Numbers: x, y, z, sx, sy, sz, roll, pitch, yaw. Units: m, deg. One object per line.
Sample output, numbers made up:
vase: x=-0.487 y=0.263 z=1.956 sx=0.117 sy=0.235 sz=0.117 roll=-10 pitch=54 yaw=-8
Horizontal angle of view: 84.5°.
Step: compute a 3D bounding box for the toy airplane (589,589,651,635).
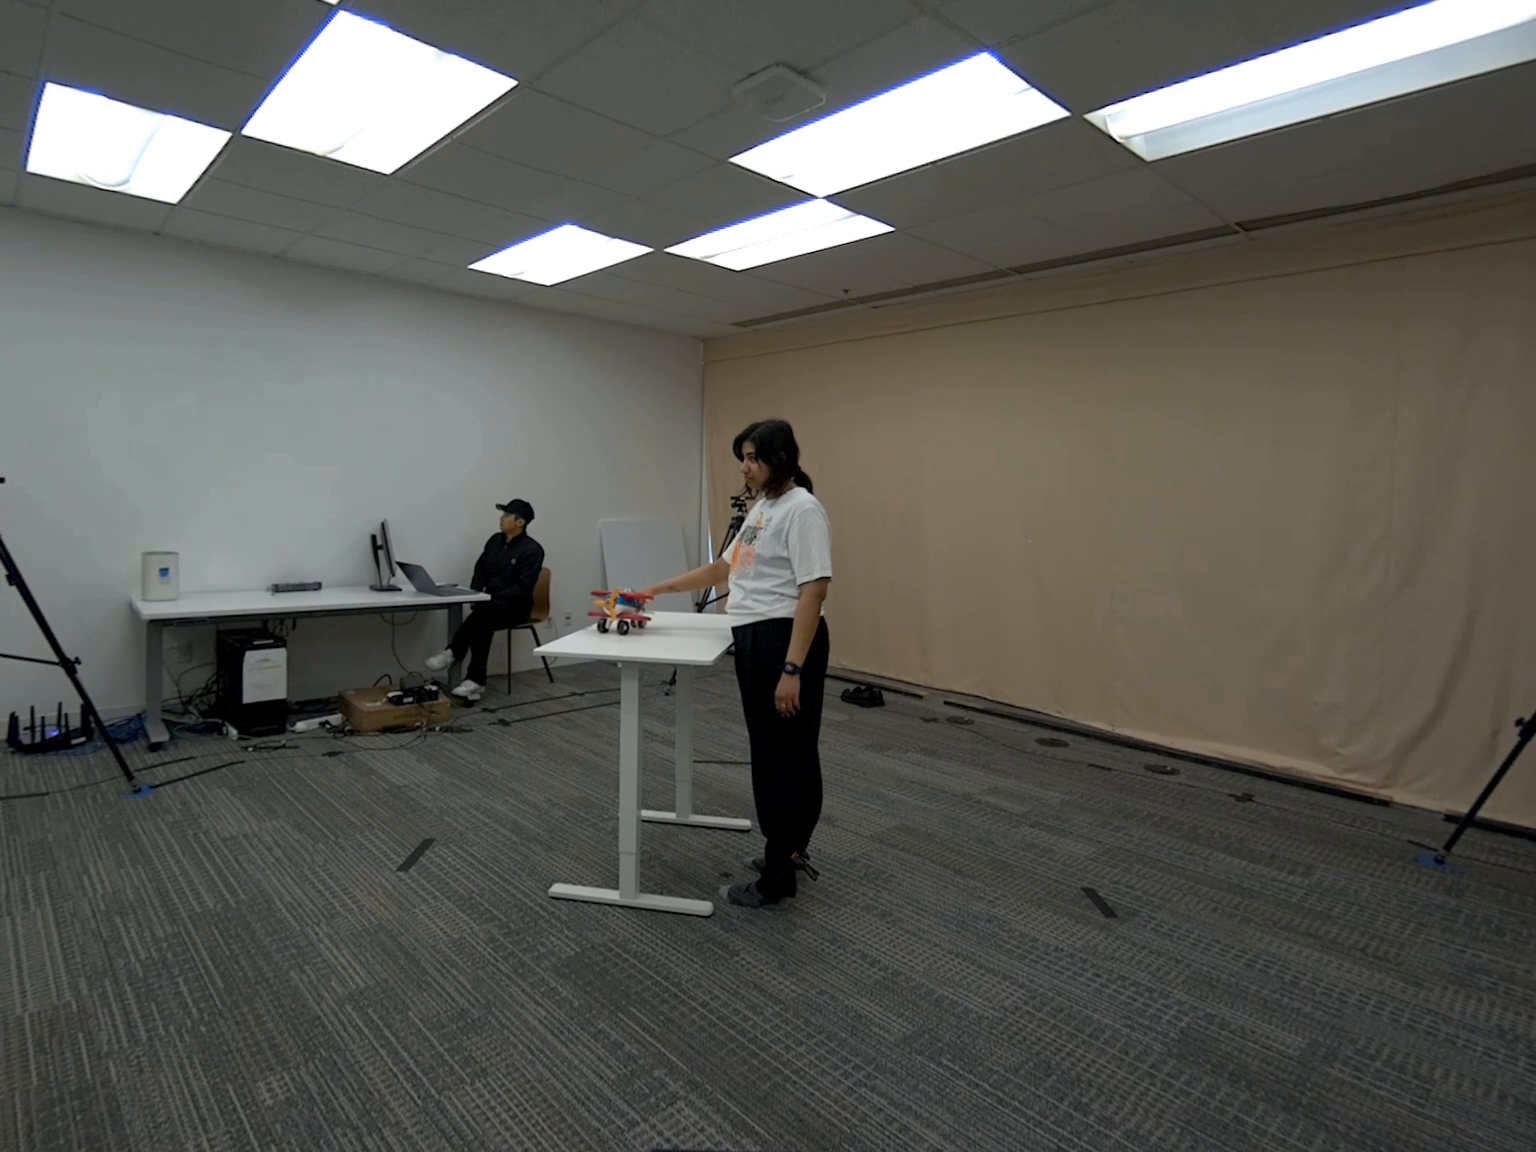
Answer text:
toy airplane: x=-0.559 y=0.129 z=3.181 sx=0.250 sy=0.156 sz=0.261 roll=0 pitch=6 yaw=-5
